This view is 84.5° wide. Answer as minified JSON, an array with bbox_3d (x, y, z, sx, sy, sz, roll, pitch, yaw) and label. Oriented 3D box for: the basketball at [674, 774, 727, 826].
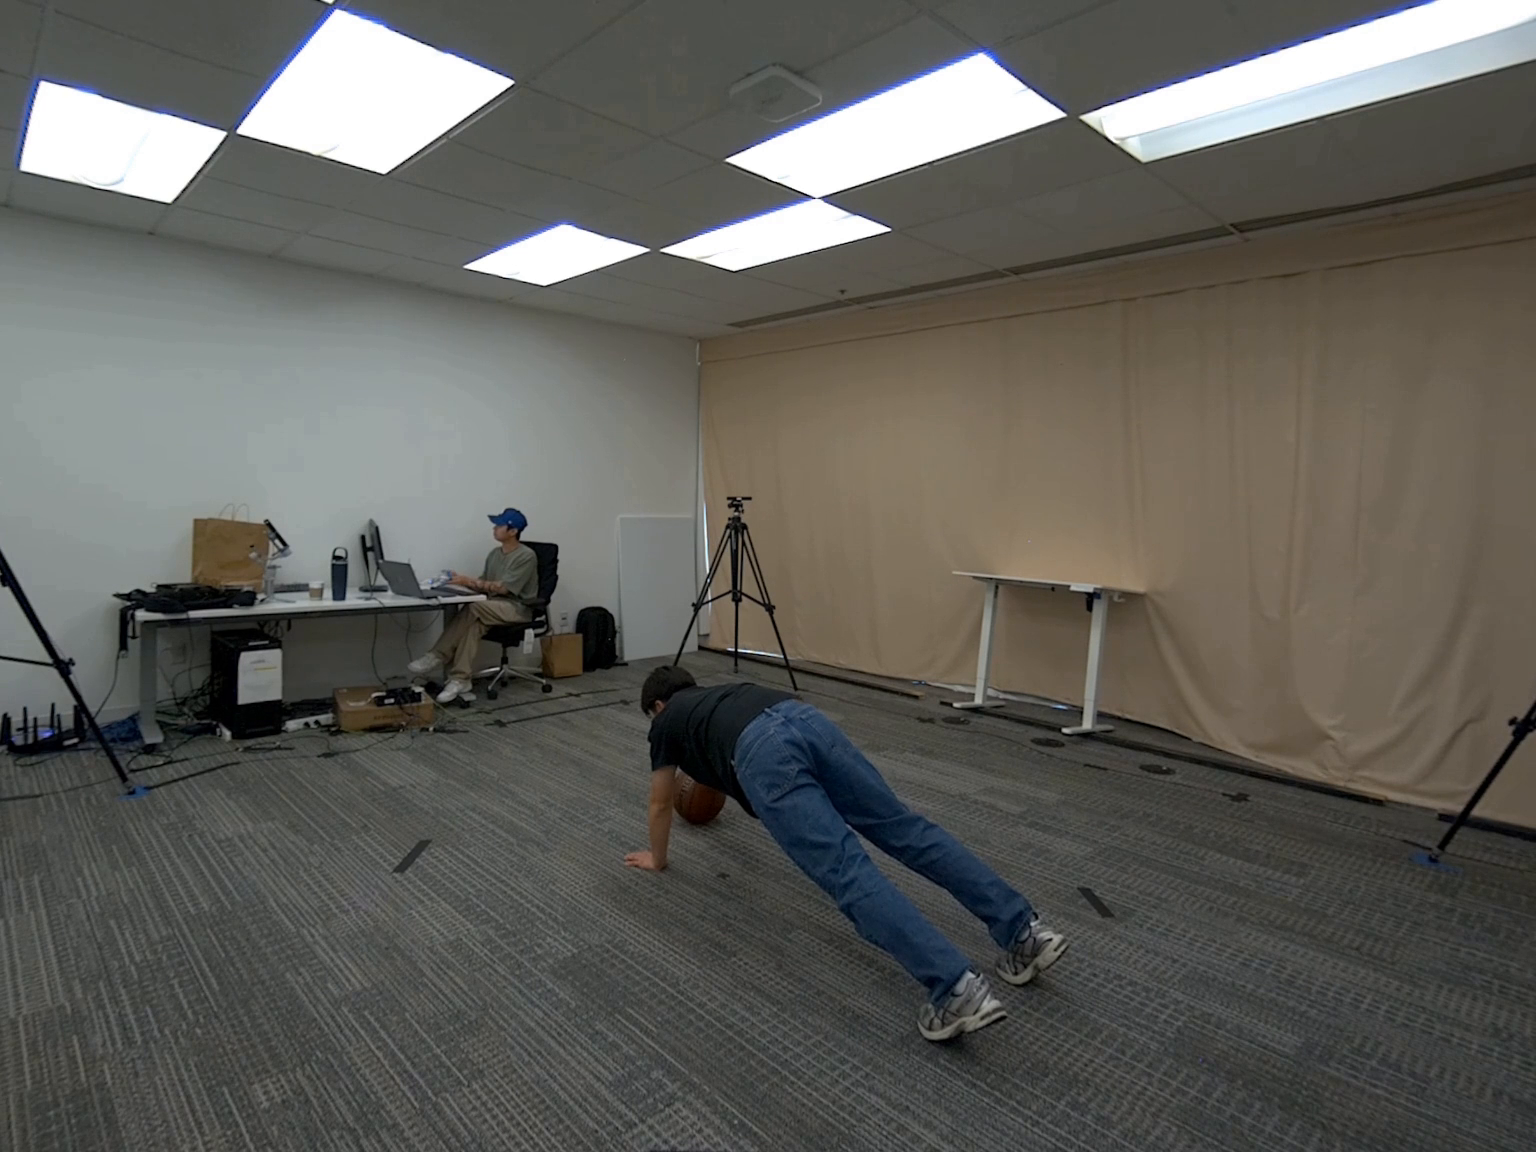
[{"bbox_3d":[-0.303,0.933,3.622,0.236,0.235,0.237,1,4,-1],"label":"basketball"}]
